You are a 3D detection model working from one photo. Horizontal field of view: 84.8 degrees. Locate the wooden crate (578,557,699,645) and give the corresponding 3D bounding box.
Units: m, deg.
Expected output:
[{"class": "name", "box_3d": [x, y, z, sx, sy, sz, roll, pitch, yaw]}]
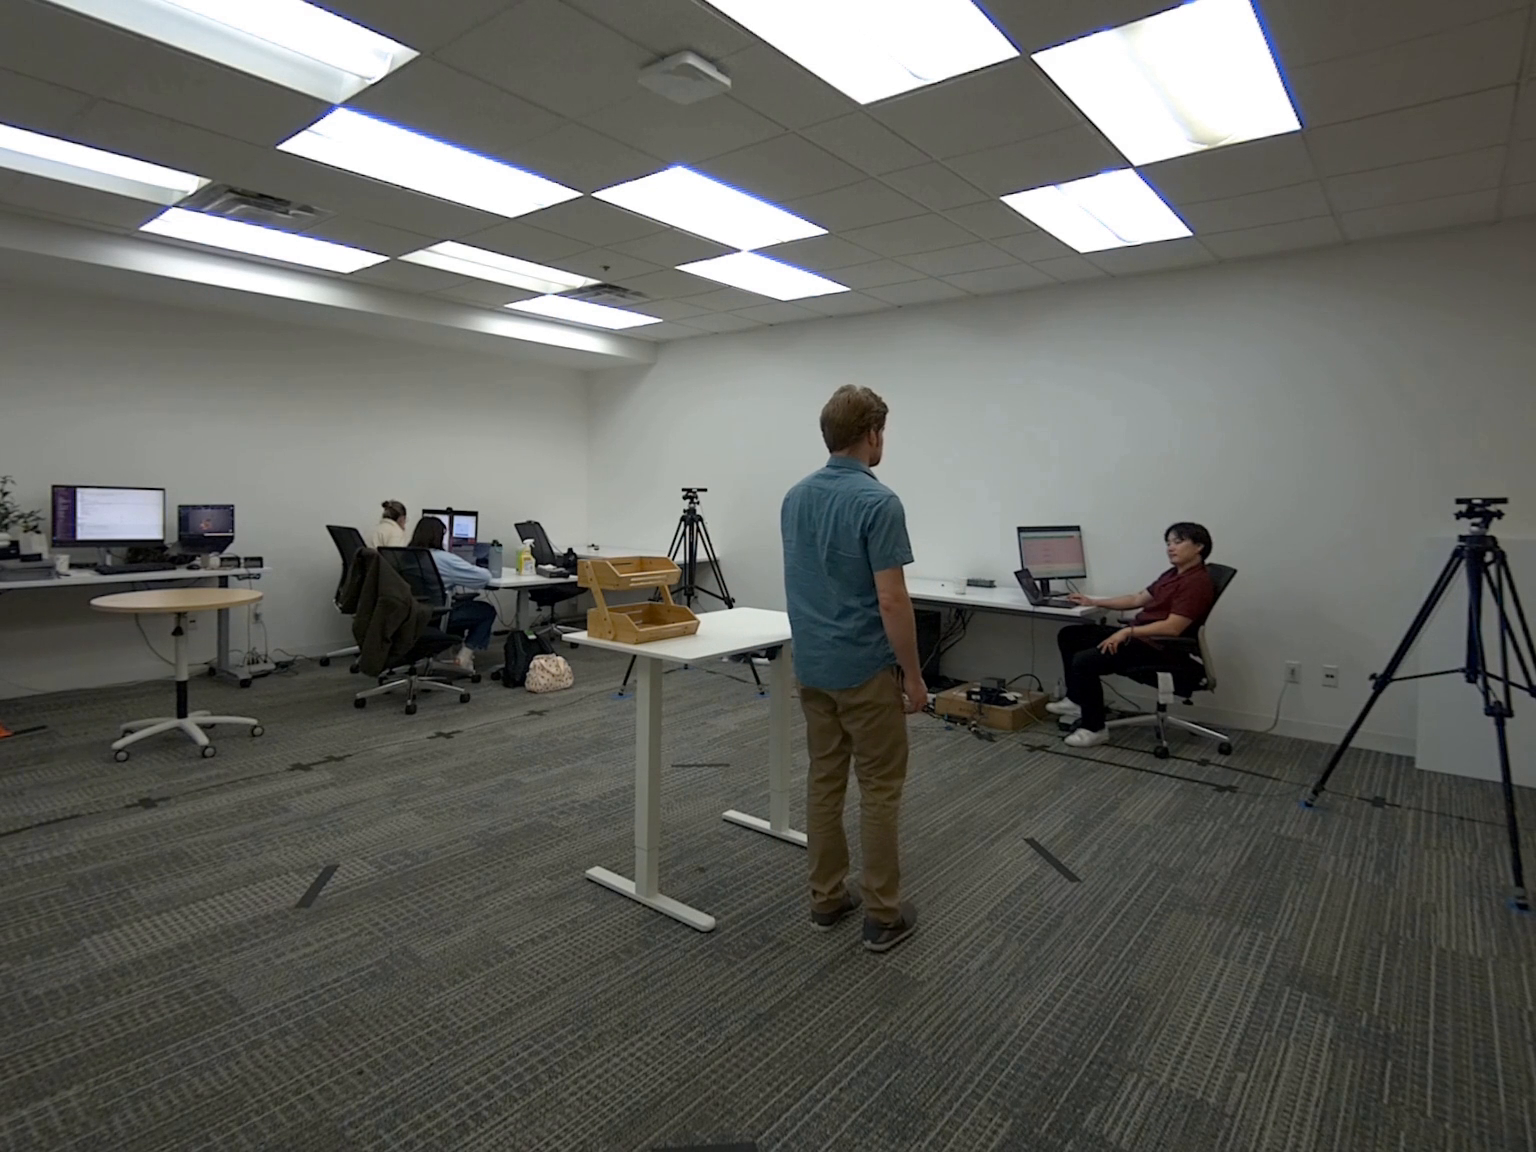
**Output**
[{"class": "wooden crate", "box_3d": [-0.453, 0.068, 2.942, 0.312, 0.272, 0.315, 3, 5, 38]}]
